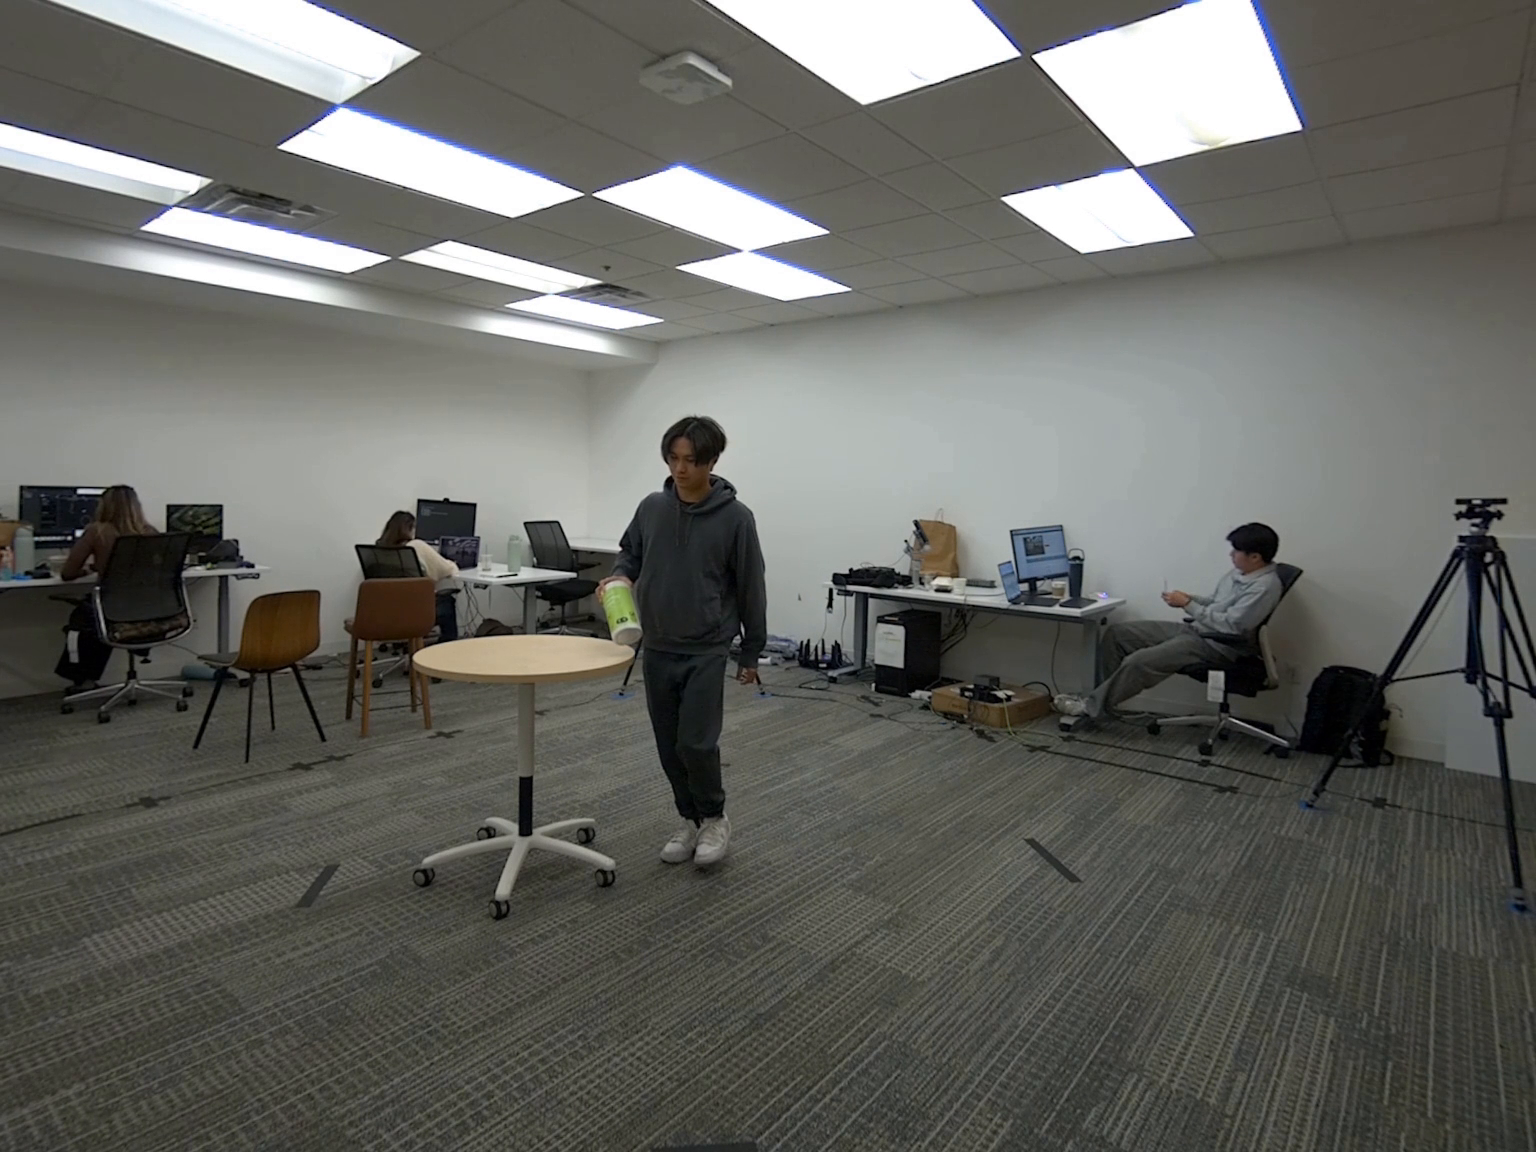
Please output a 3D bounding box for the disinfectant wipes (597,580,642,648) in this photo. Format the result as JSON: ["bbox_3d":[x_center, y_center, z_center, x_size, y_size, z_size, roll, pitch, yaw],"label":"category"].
[{"bbox_3d":[-0.535,0.127,3.050,0.117,0.225,0.114,-13,-36,-11],"label":"disinfectant wipes"}]
